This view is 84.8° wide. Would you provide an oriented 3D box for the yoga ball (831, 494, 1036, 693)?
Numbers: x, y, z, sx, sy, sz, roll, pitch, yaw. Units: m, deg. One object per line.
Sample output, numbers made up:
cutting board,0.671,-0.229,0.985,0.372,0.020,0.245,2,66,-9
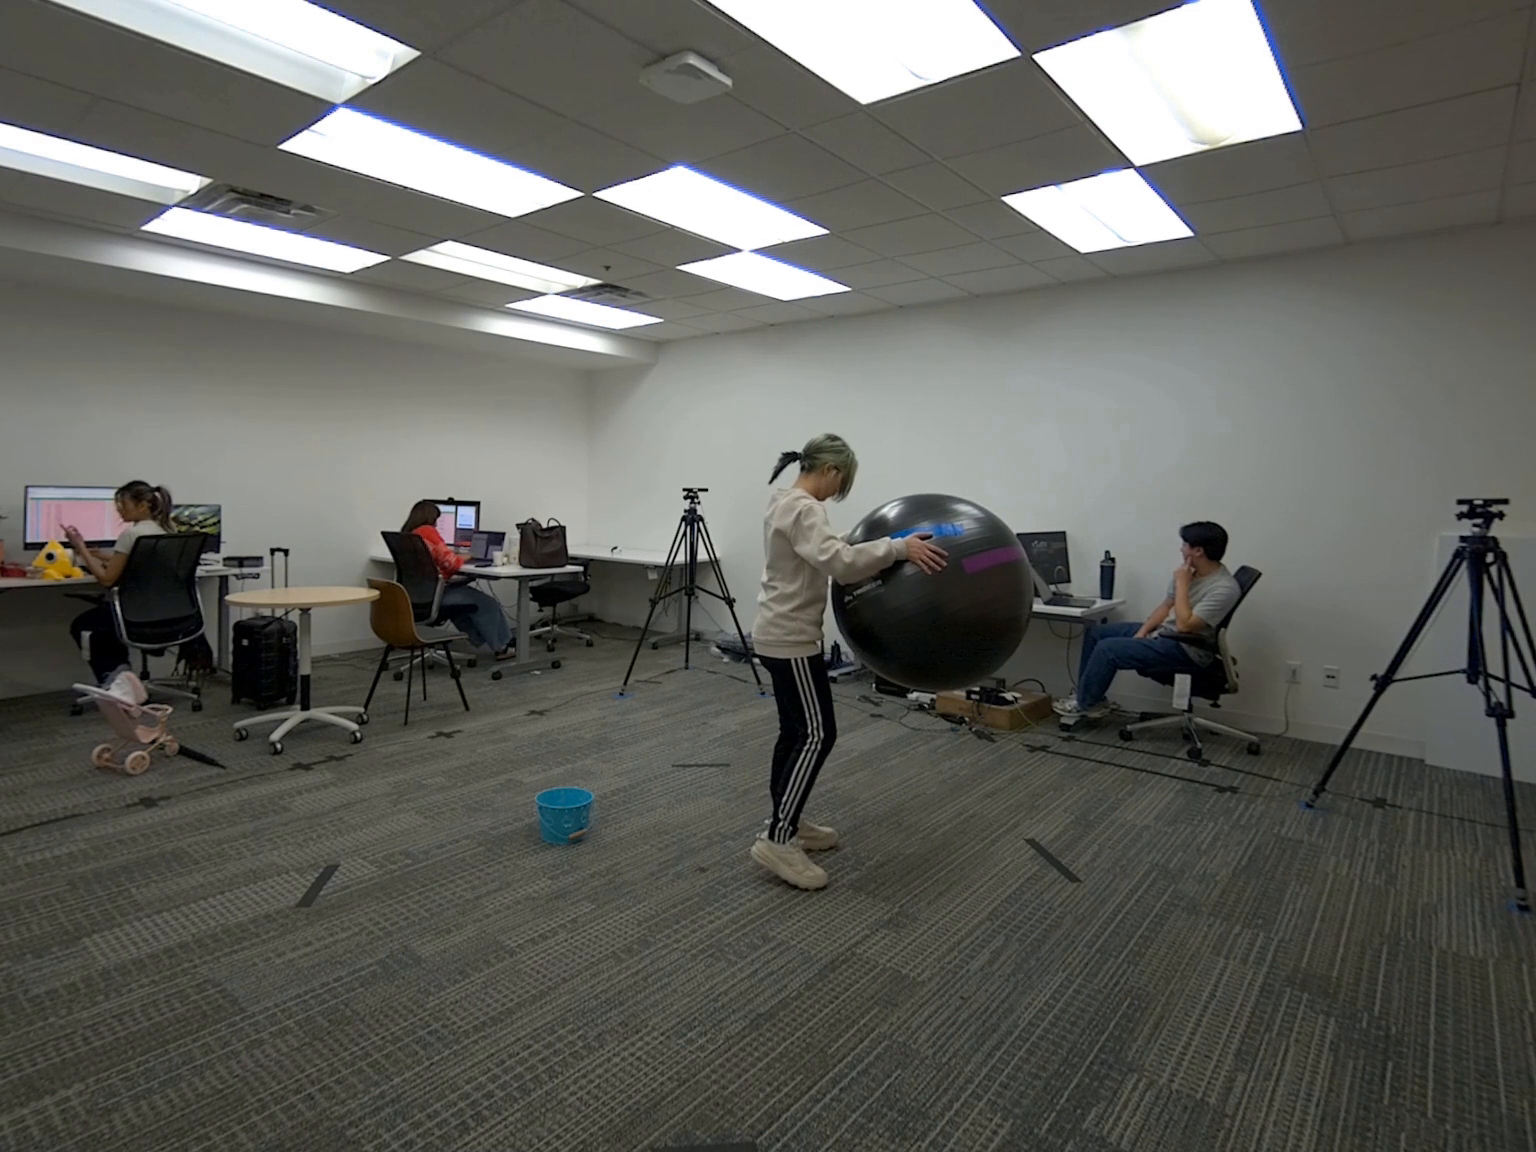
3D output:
yoga ball,0.622,0.070,3.290,0.757,0.755,0.762,1,4,-2
